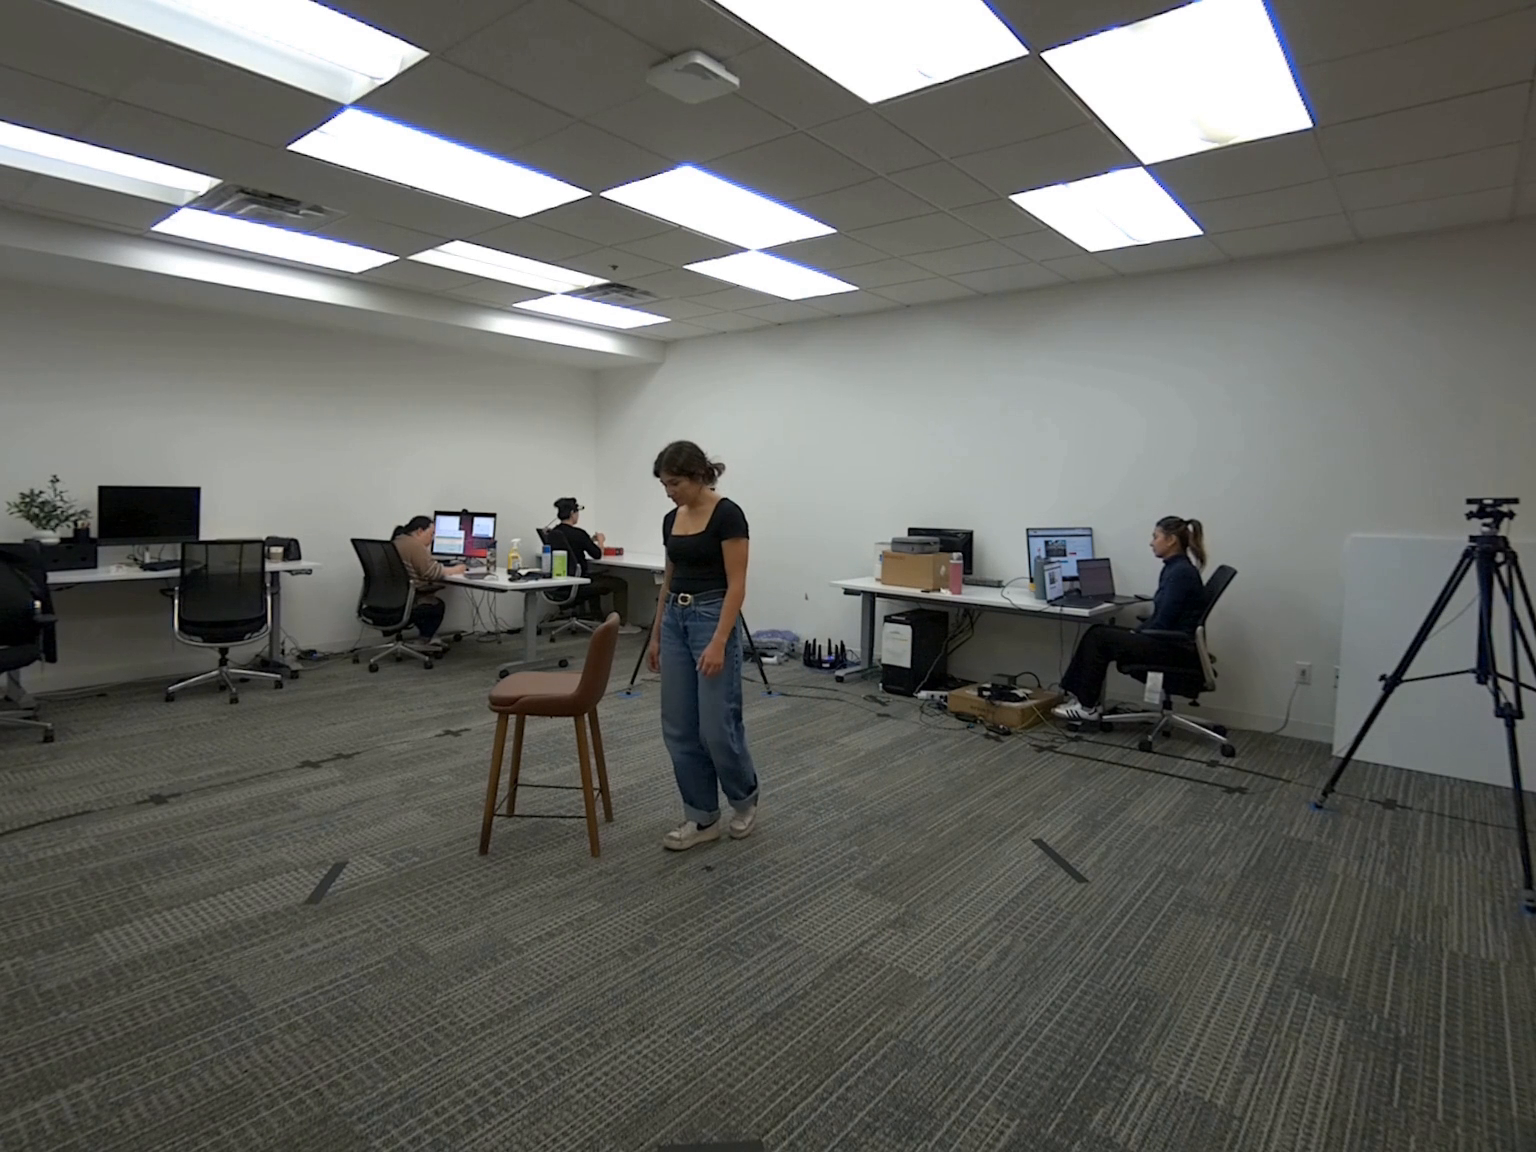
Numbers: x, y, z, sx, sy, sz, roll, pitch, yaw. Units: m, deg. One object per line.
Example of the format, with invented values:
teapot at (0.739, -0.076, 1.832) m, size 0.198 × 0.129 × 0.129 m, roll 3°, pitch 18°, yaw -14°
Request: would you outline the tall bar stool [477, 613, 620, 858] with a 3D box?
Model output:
tall bar stool at (-0.862, 0.596, 3.363) m, size 0.468 × 0.888 × 0.457 m, roll 3°, pitch 3°, yaw 0°
